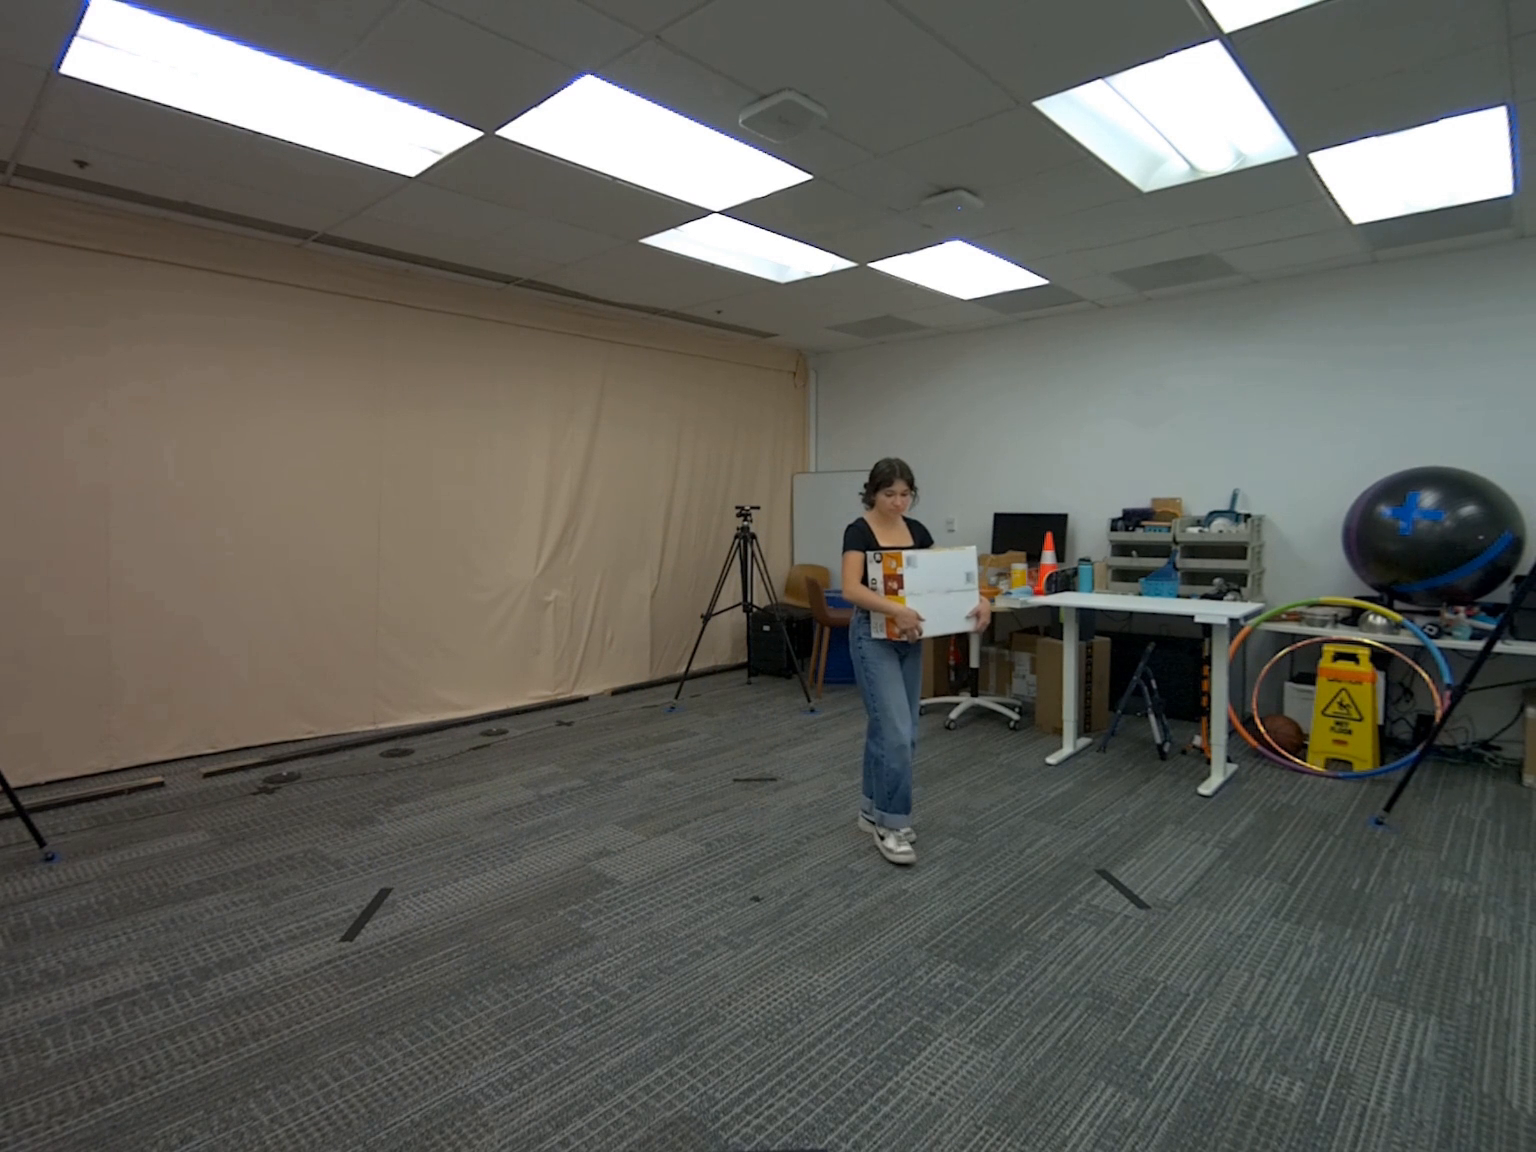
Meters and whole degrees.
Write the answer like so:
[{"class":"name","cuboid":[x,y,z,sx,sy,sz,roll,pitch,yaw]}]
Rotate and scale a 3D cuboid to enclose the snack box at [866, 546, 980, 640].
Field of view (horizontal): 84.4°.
[{"class":"snack box","cuboid":[0.619,0.062,3.340,0.394,0.340,0.211,-5,2,-31]}]
